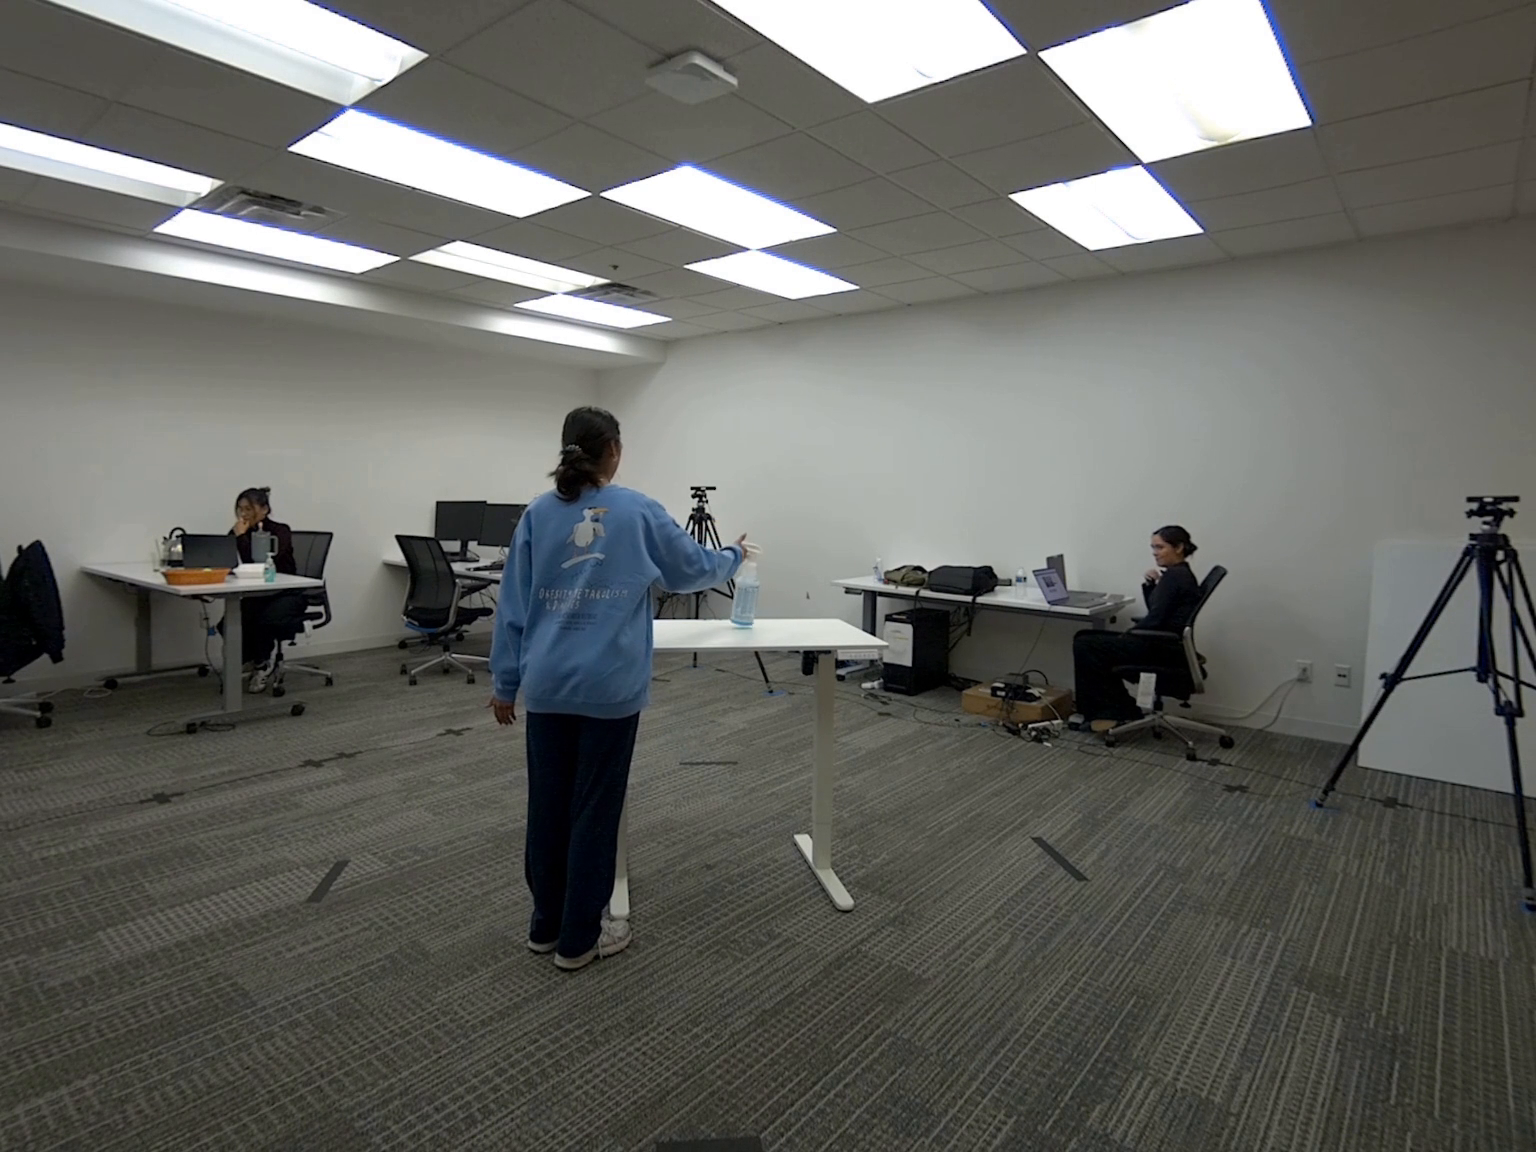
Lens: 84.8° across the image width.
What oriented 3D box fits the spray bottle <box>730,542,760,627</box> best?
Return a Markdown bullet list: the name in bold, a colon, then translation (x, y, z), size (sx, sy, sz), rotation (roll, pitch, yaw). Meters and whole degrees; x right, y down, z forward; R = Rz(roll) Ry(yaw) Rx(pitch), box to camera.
- **spray bottle**: translation (-0.085, 0.024, 3.071), size (0.092, 0.295, 0.086), rotation (10, 9, 15)
